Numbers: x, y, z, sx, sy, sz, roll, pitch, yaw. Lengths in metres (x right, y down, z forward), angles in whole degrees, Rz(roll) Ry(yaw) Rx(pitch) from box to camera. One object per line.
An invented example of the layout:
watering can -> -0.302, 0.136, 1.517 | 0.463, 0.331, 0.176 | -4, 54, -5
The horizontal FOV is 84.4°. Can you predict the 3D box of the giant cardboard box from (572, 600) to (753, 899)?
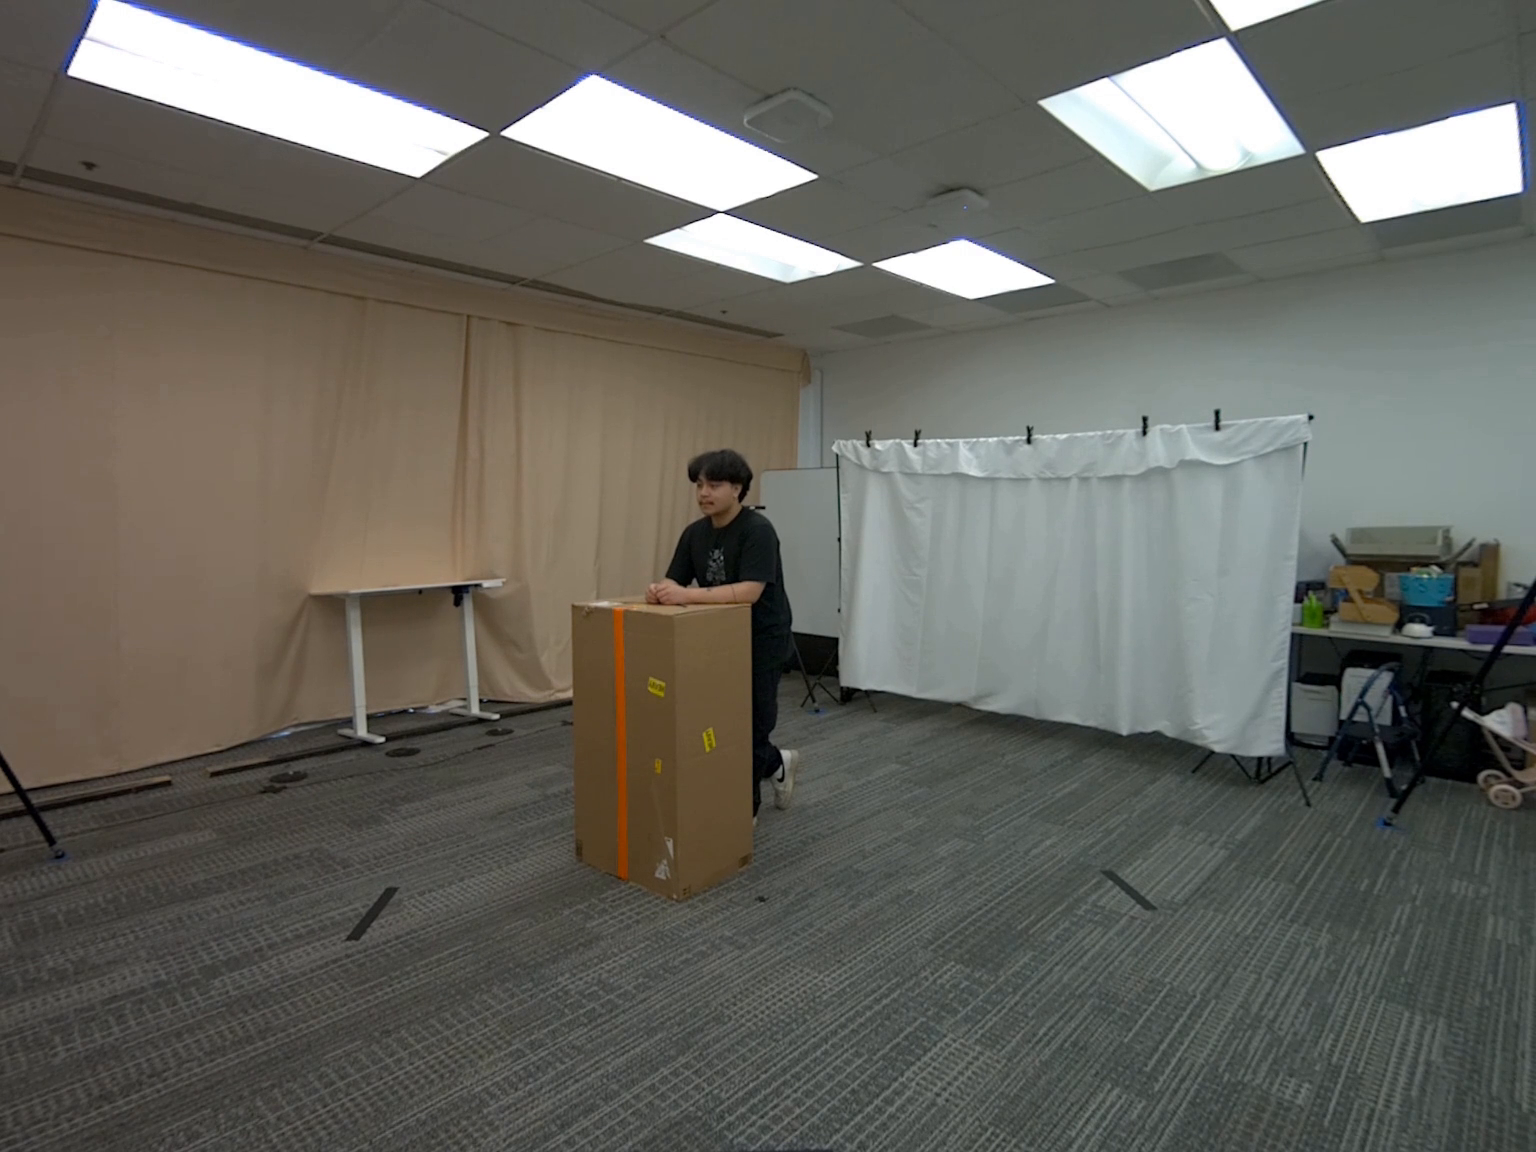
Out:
giant cardboard box -> -0.419, 0.613, 3.282 | 0.603, 1.025, 0.433 | 2, 4, 41
